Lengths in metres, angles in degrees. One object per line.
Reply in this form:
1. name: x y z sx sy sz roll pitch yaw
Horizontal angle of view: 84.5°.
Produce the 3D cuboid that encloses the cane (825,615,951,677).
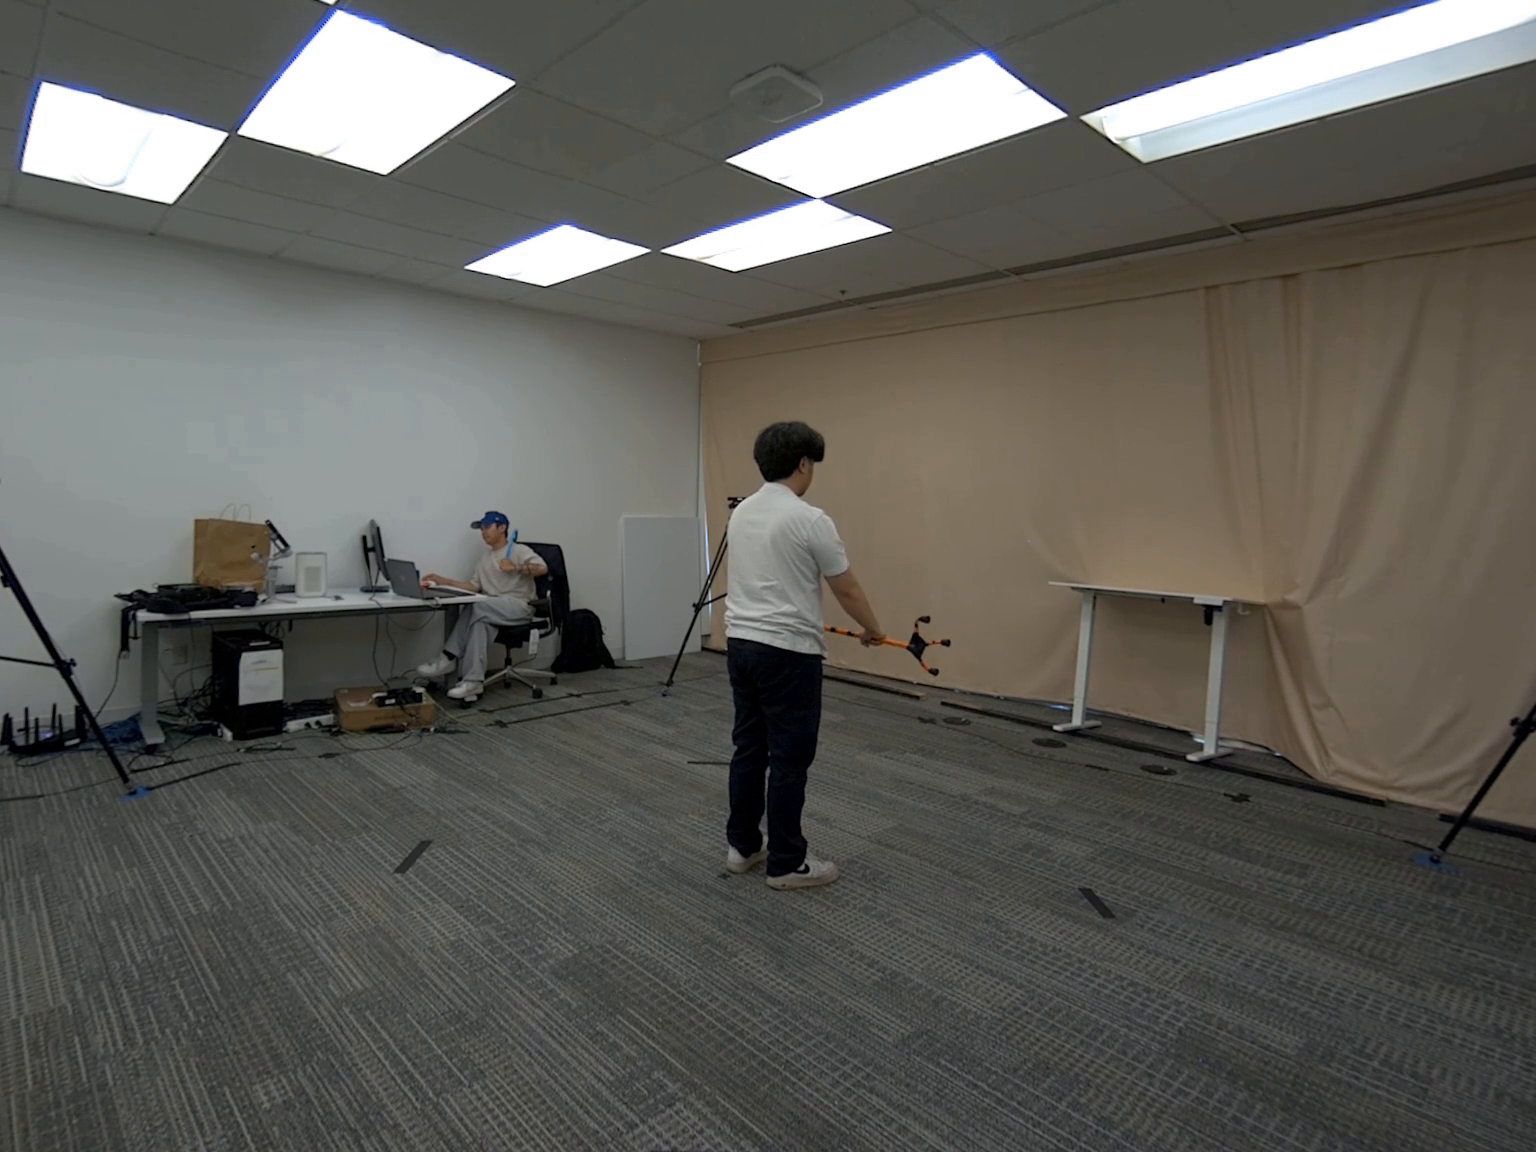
1. cane: 0.264 0.208 3.399 0.932 0.152 0.200 9 -28 45
